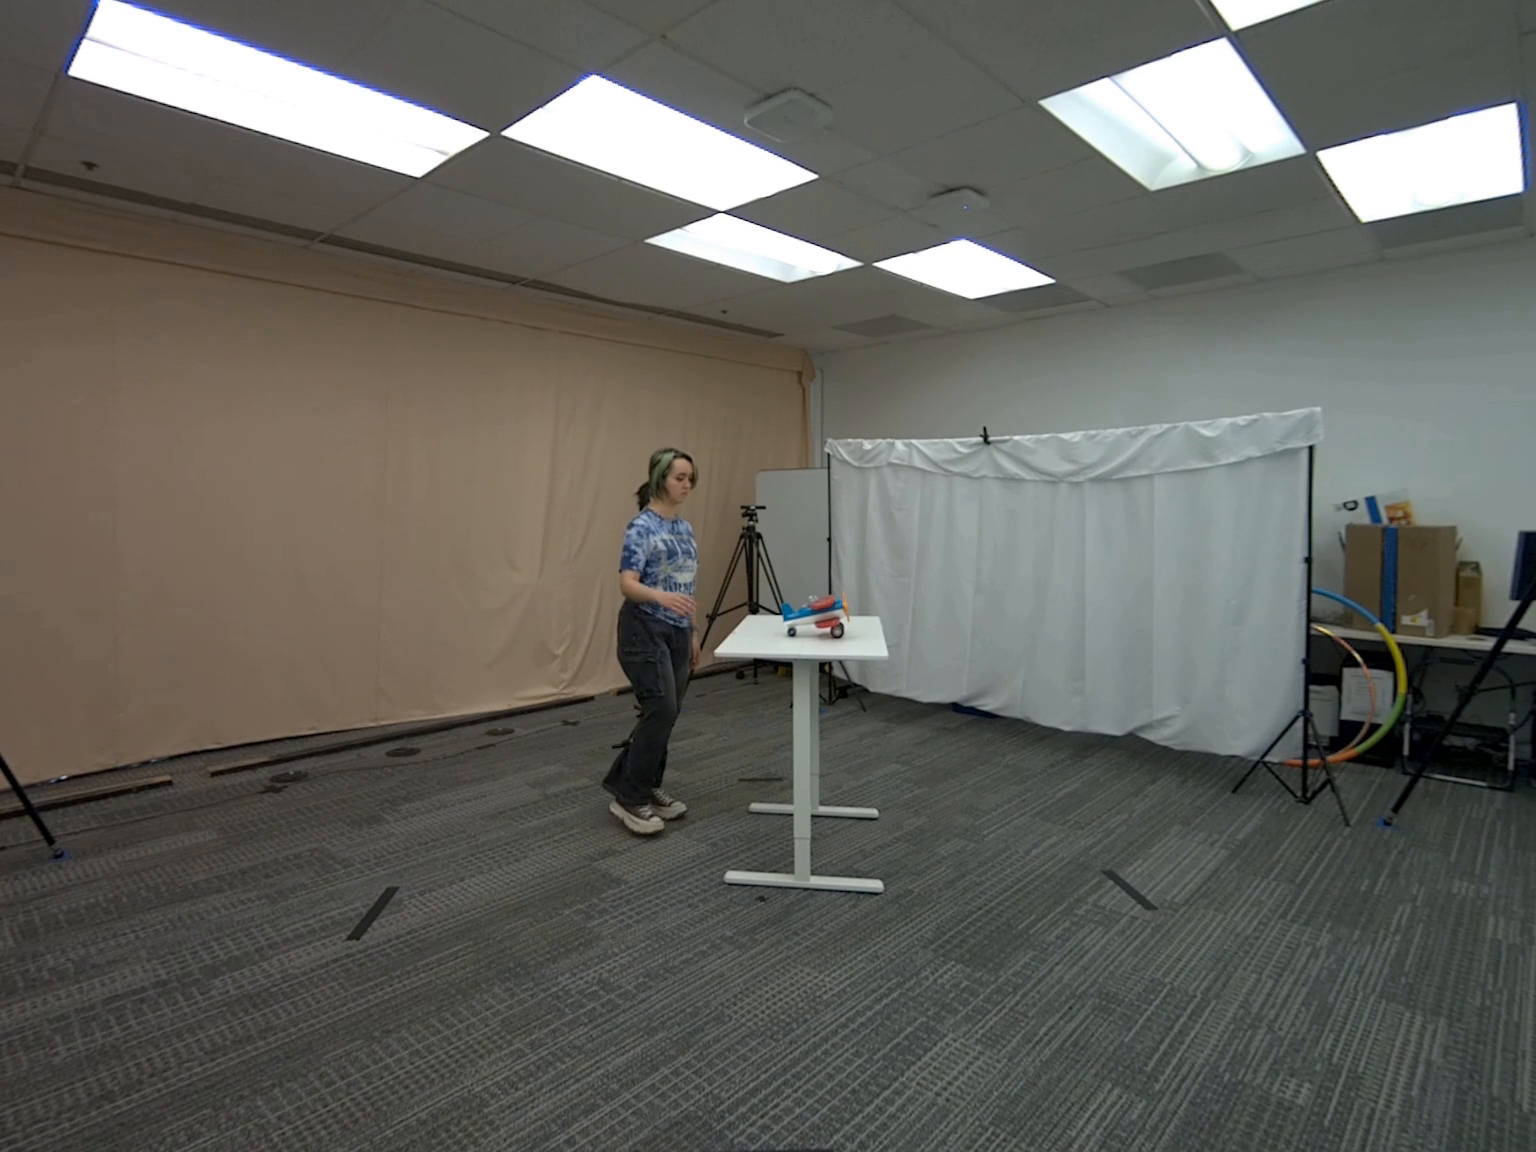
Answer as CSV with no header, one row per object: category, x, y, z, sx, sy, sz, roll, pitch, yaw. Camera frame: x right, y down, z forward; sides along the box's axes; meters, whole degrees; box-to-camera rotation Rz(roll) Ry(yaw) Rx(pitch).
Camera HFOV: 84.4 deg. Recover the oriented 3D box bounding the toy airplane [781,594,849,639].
toy airplane,0.187,0.161,3.266,0.254,0.156,0.257,-1,5,-22
